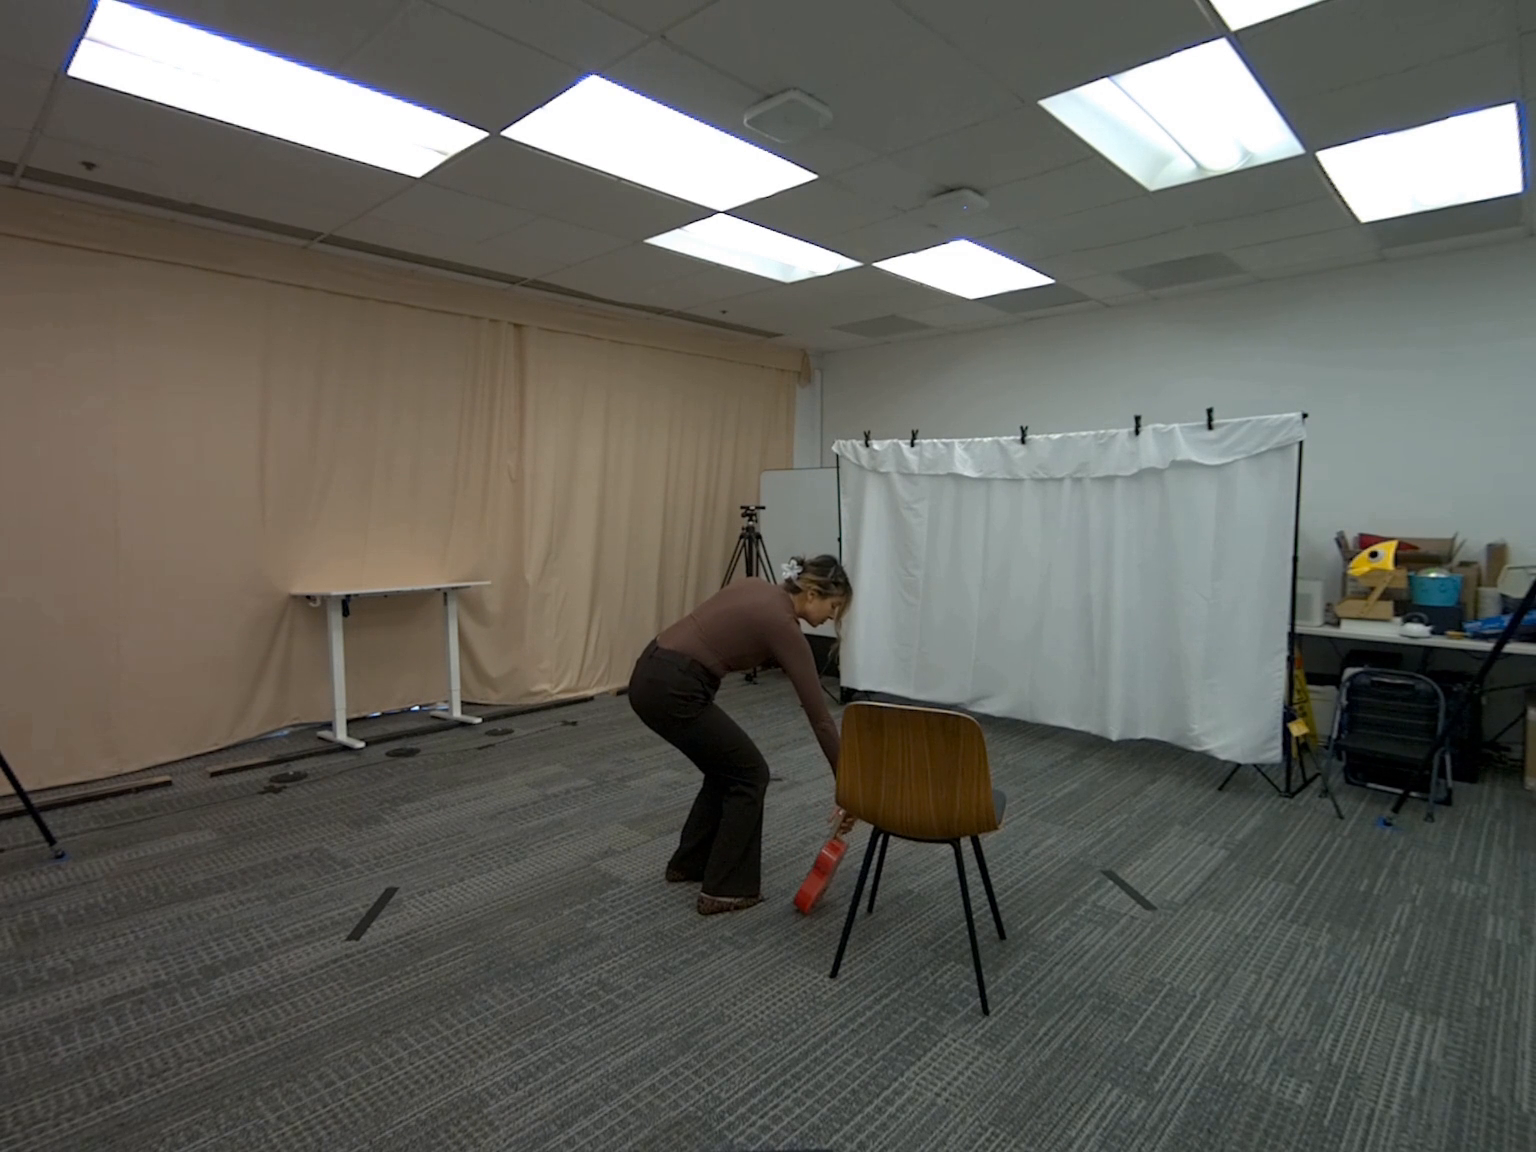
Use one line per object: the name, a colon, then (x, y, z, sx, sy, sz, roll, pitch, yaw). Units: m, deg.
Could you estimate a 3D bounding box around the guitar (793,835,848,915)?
guitar: (0.219, 0.930, 2.836, 0.072, 0.495, 0.189, 30, 25, 21)
